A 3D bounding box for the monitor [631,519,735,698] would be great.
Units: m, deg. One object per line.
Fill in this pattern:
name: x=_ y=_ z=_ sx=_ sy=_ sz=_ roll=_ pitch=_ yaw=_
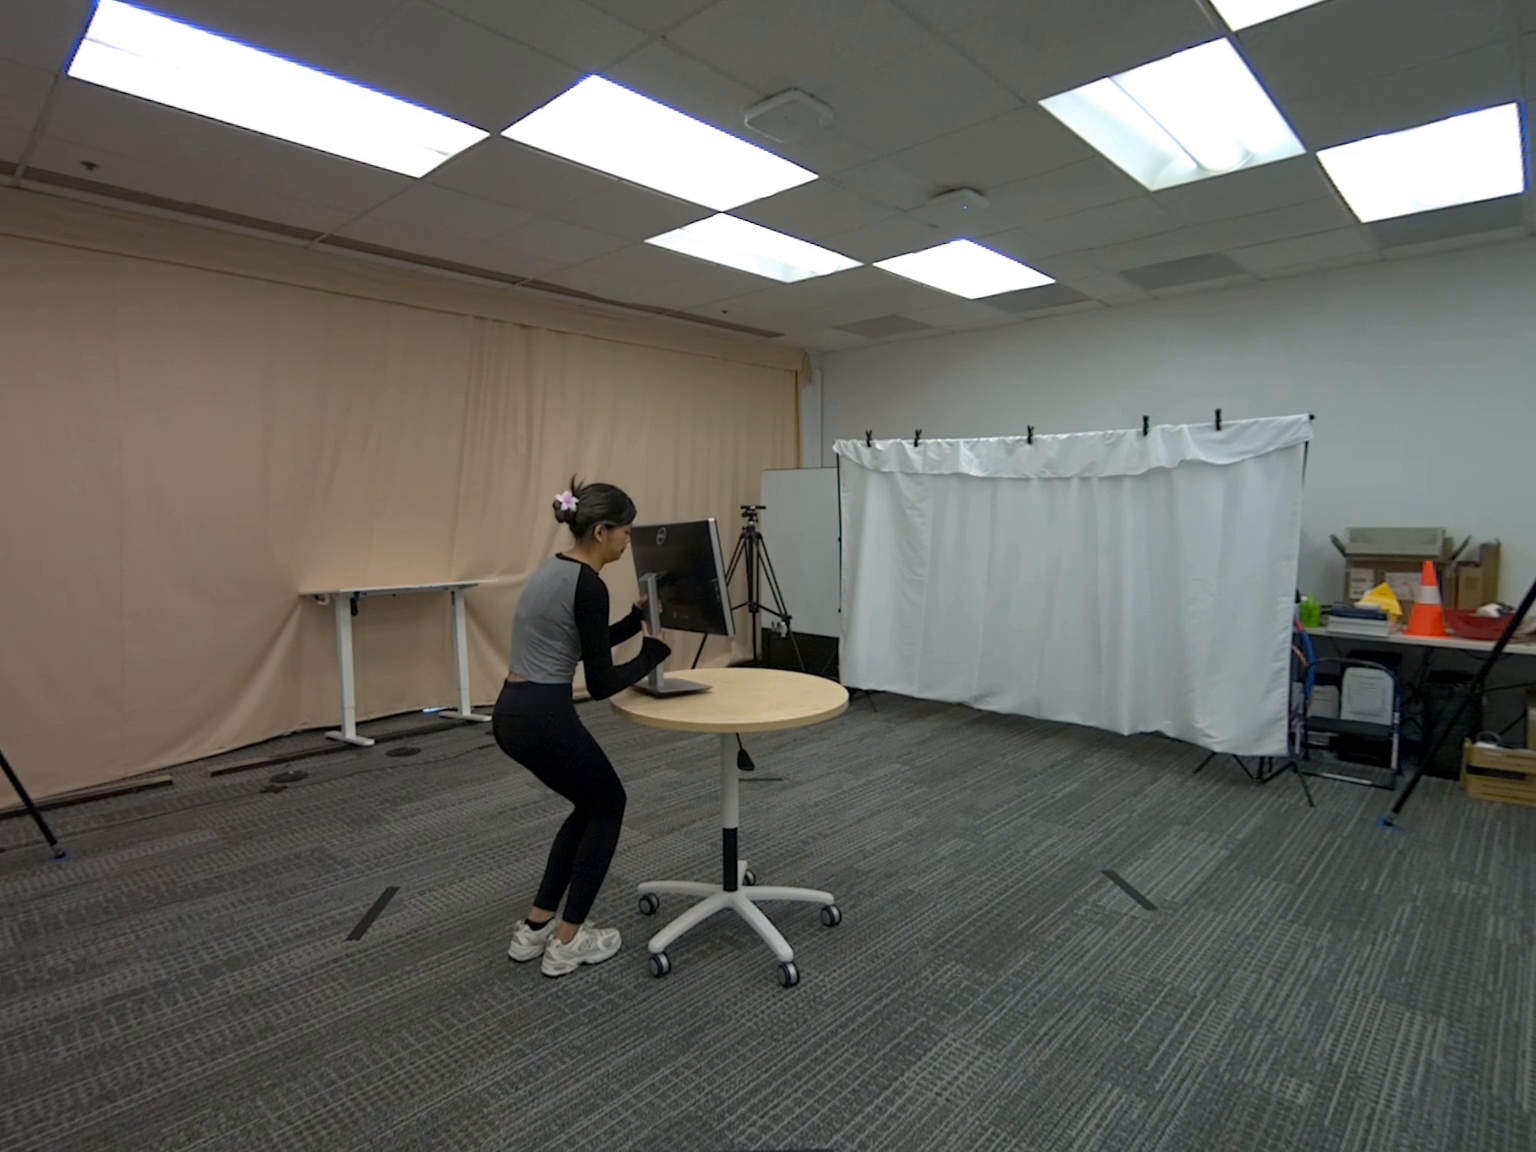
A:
monitor: x=-0.322 y=0.096 z=2.747 sx=0.181 sy=0.523 sz=0.555 roll=2 pitch=0 yaw=-36
